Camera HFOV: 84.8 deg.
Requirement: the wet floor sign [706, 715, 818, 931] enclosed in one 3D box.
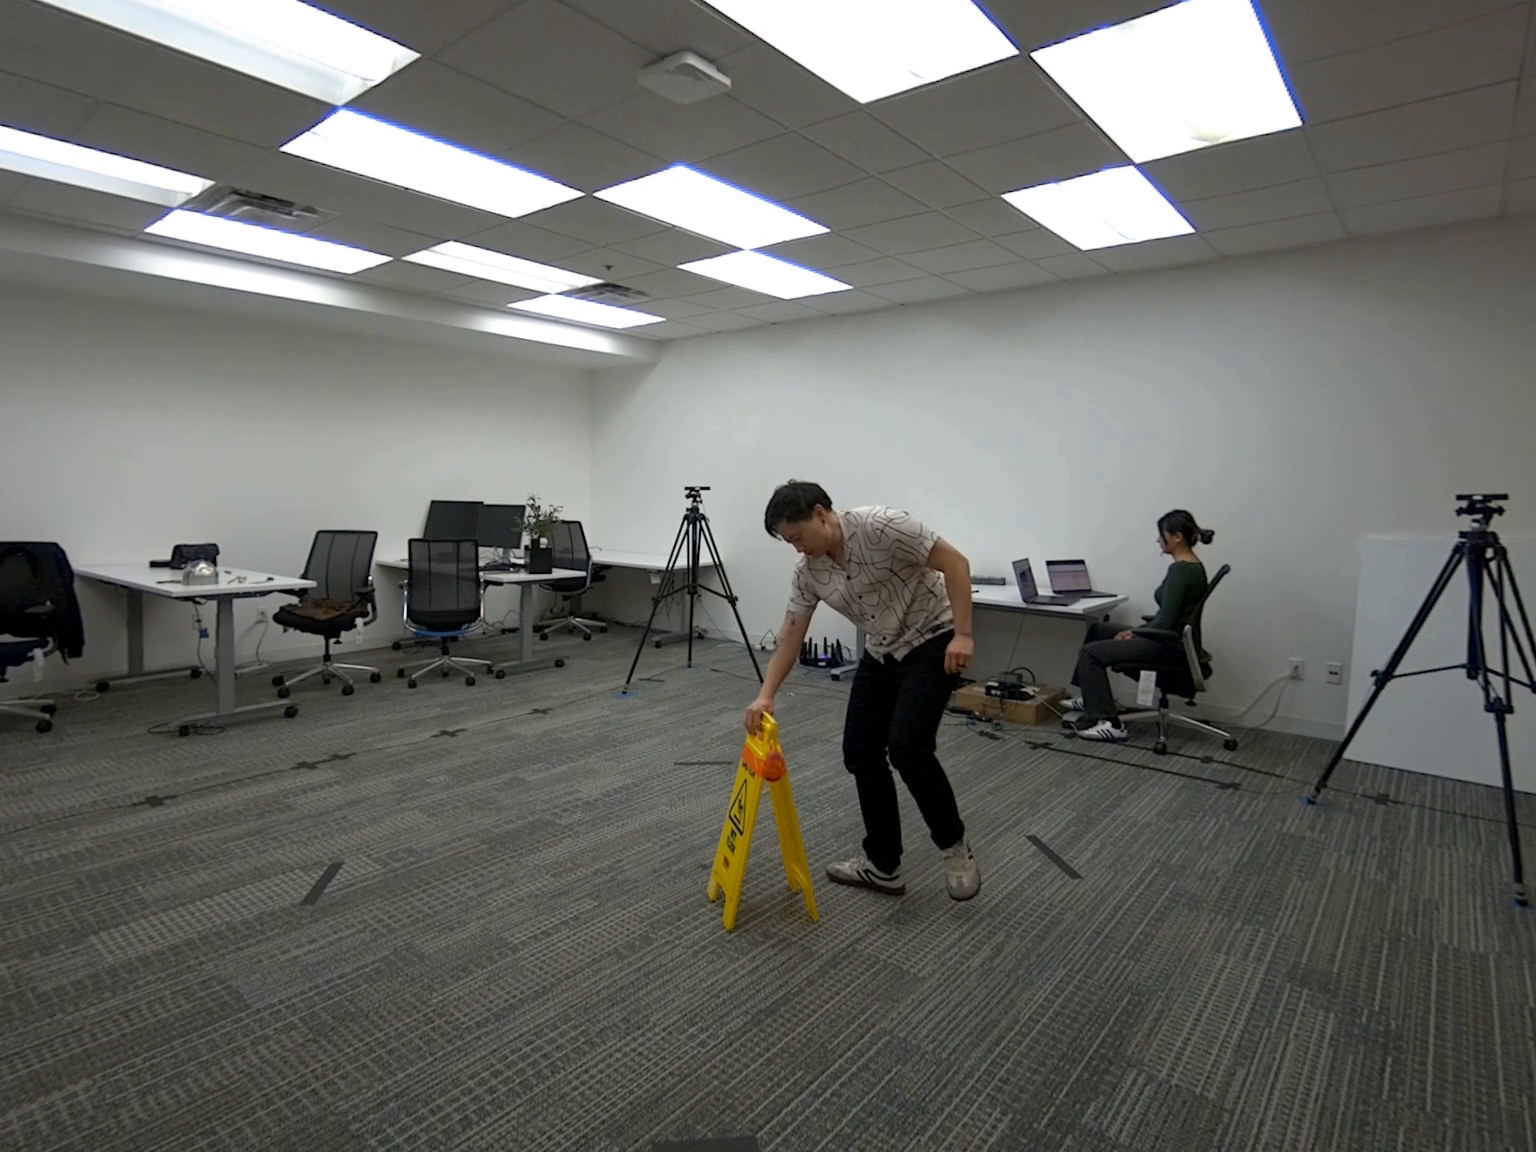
[{"bbox_3d":[-0.024,0.771,2.815,0.285,0.644,0.288,0,4,-16],"label":"wet floor sign"}]
